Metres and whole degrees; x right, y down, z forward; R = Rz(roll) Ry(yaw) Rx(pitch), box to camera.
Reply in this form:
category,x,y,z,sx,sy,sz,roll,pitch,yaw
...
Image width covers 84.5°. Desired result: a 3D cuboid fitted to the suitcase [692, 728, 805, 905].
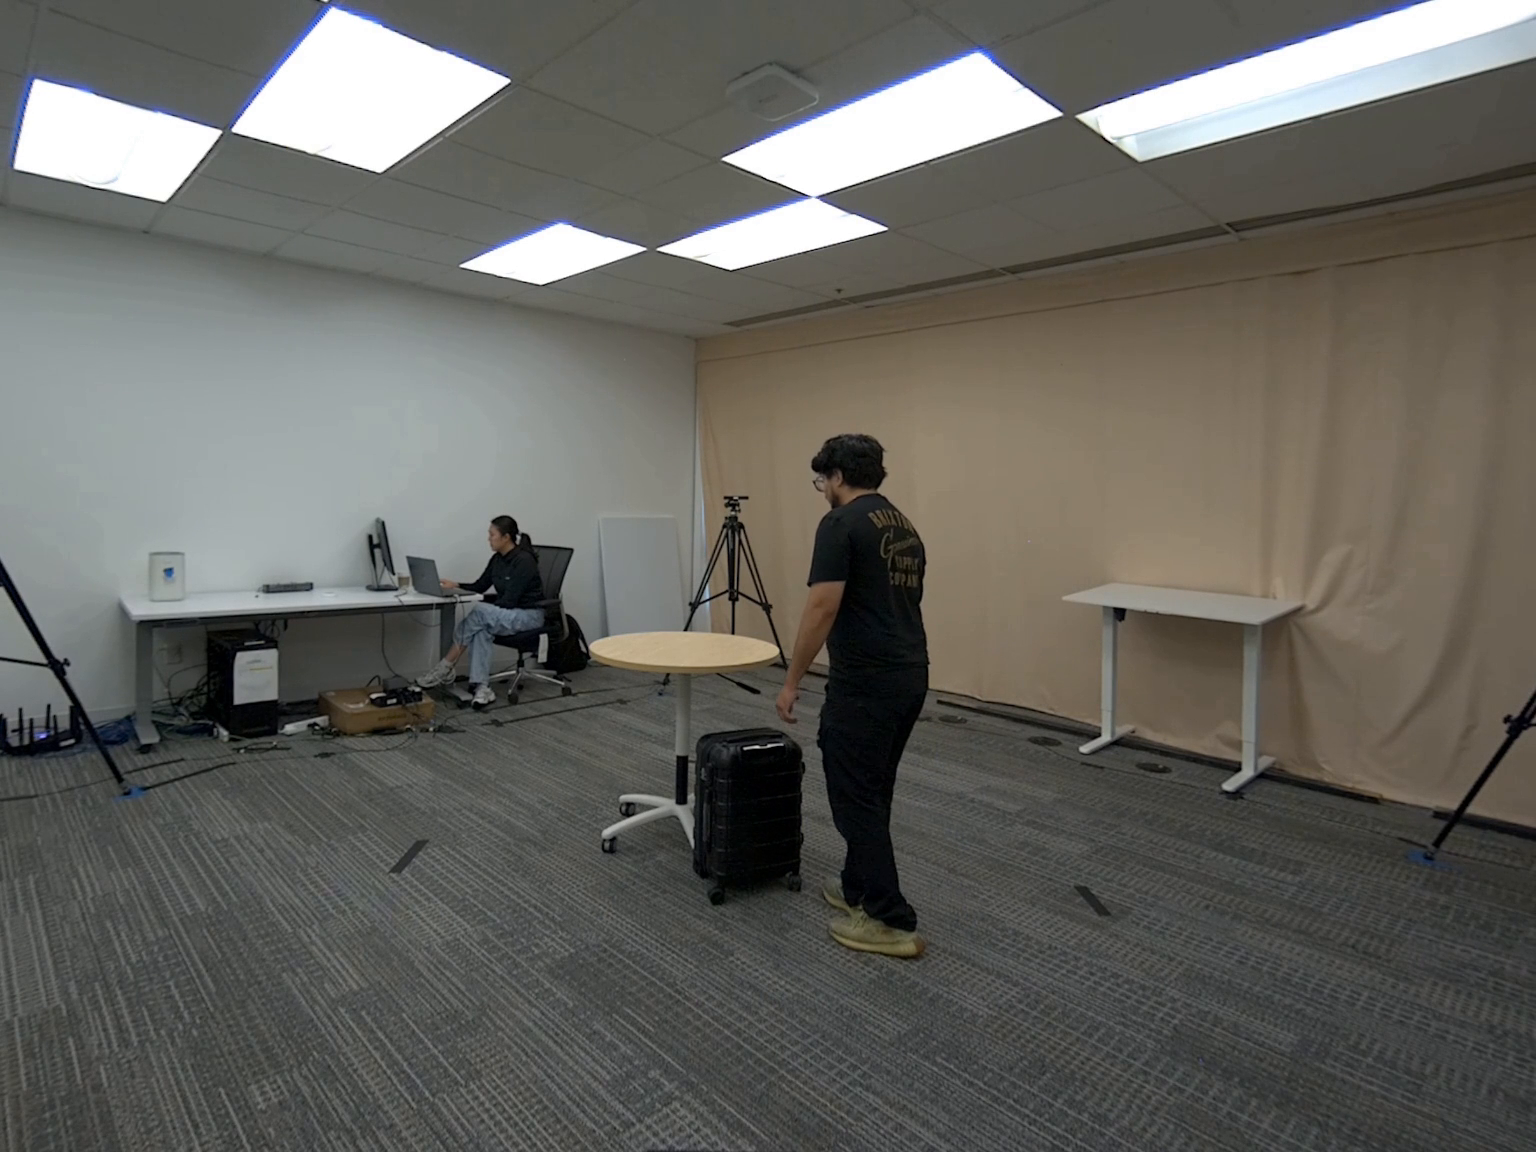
category,x,y,z,sx,sy,sz,roll,pitch,yaw
suitcase,-0.074,0.829,3.040,0.368,0.548,0.253,1,3,-25
